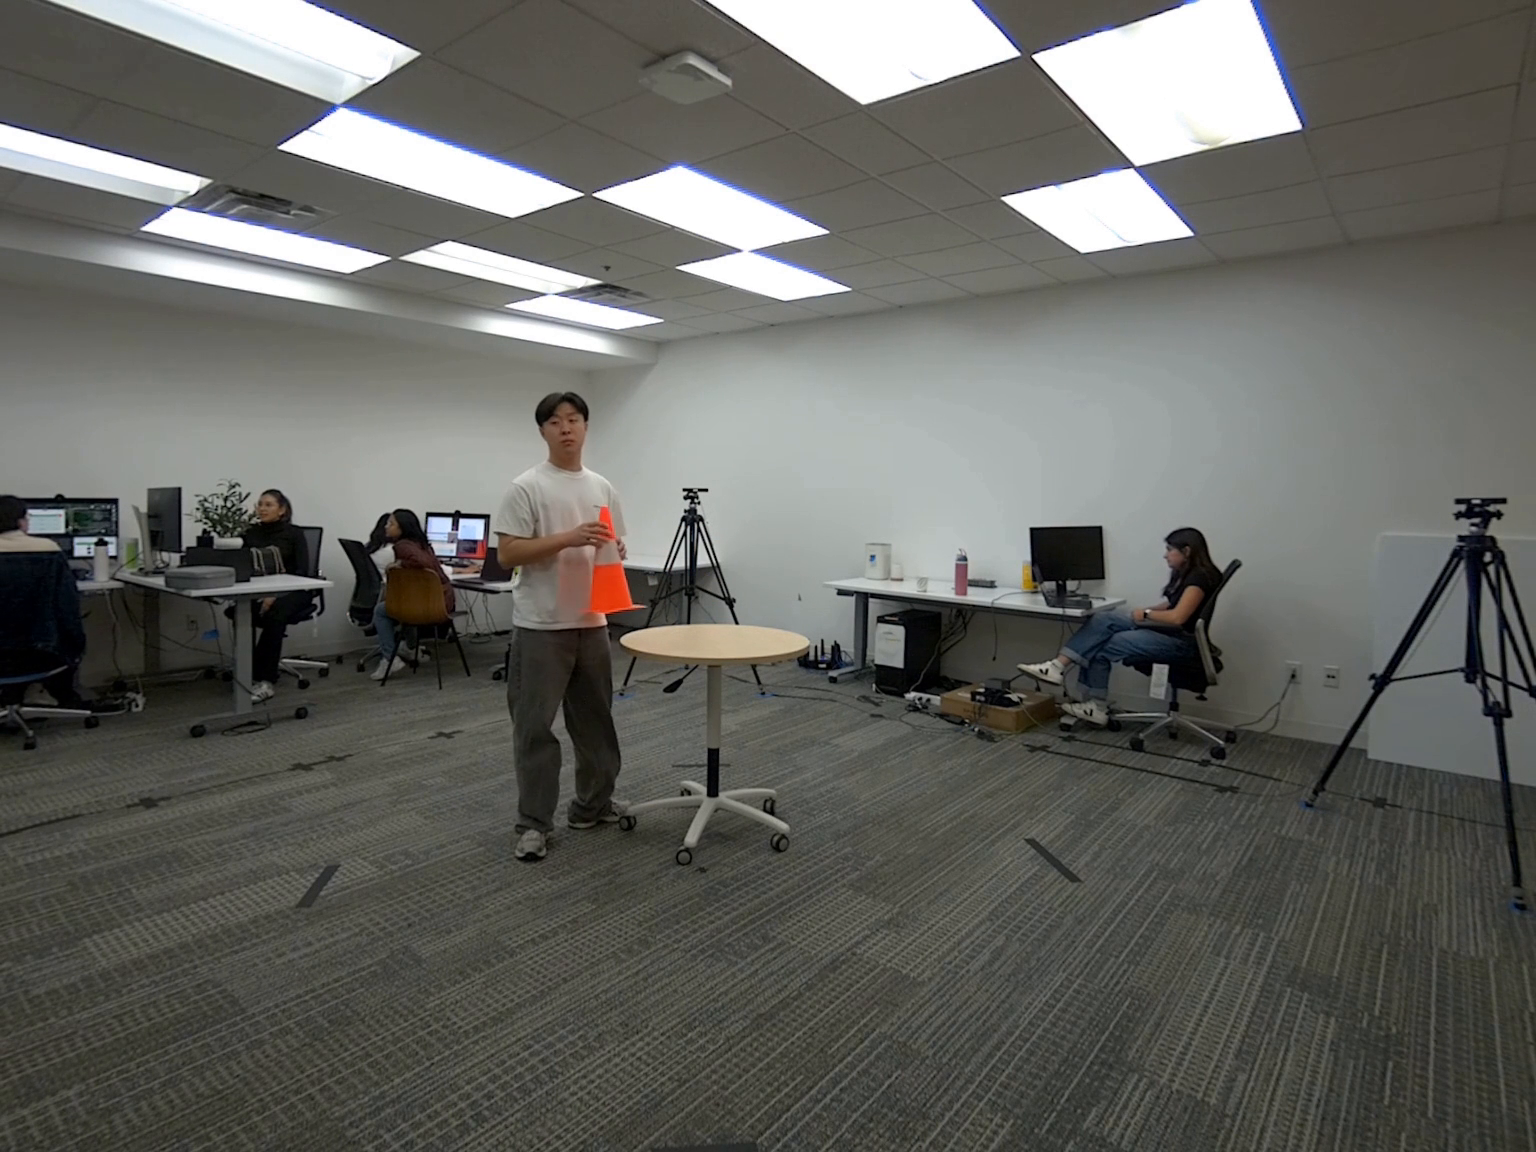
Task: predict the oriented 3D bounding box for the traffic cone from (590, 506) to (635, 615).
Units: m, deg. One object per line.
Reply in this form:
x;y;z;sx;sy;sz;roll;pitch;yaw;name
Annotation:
-0.597;-0.077;3.167;0.210;0.383;0.198;-2;1;31;traffic cone
